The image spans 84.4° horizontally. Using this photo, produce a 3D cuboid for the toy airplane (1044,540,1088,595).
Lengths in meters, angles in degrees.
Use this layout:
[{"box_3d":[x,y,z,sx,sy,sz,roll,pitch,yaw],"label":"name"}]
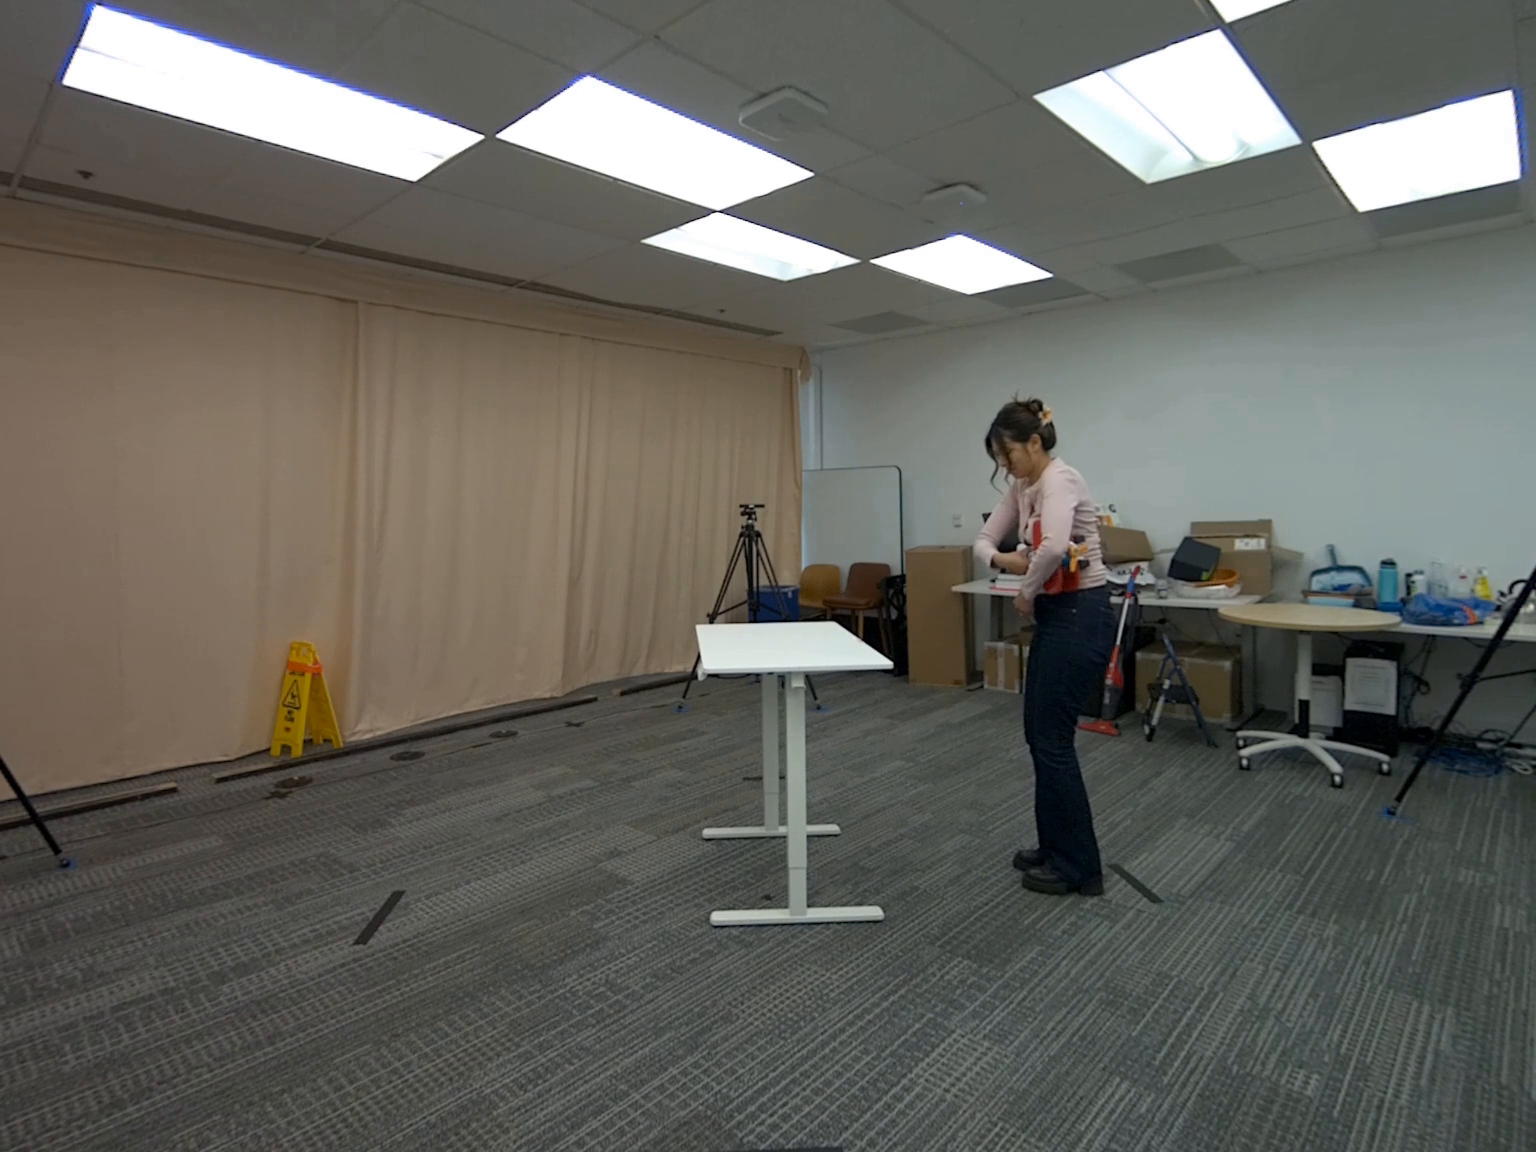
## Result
[{"box_3d":[0.971,-0.043,2.893,0.151,0.257,0.261,1,-34,-38],"label":"toy airplane"}]
